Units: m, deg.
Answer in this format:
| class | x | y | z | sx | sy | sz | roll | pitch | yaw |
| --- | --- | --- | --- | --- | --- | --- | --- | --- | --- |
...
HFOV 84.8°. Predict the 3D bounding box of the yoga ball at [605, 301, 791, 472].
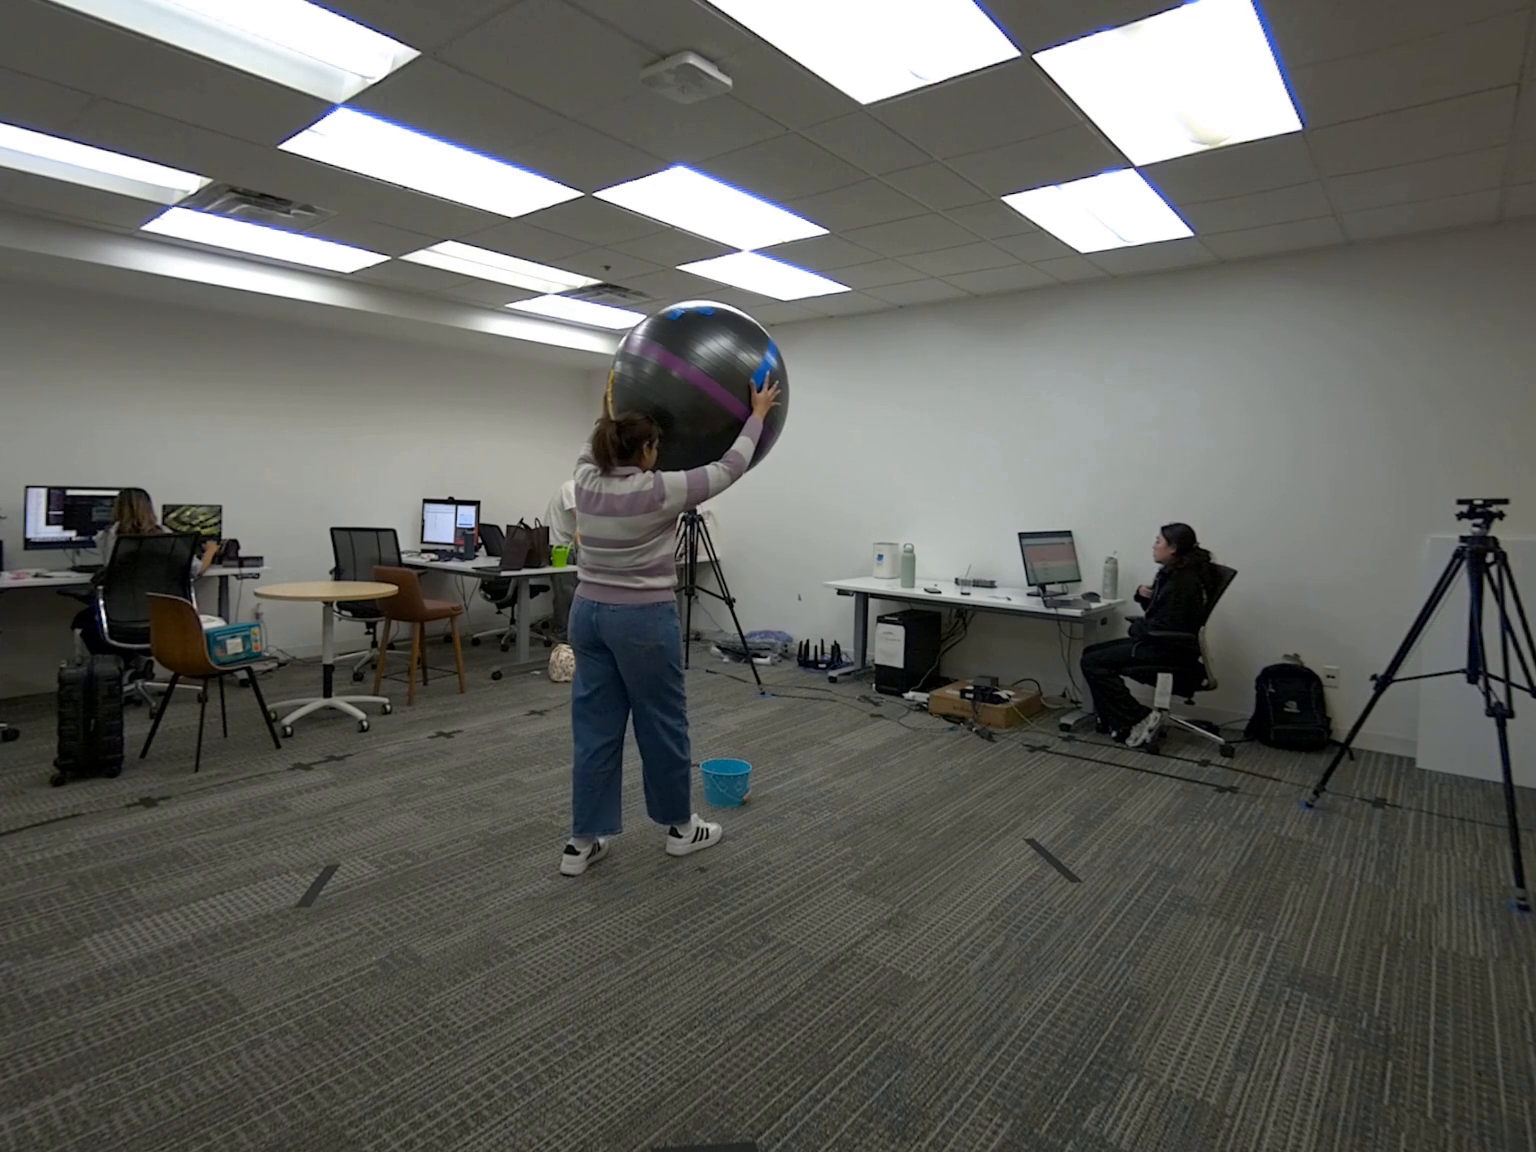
| class | x | y | z | sx | sy | sz | roll | pitch | yaw |
| --- | --- | --- | --- | --- | --- | --- | --- | --- | --- |
| yoga ball | -0.297 | -0.745 | 3.548 | 0.757 | 0.756 | 0.761 | 1 | 4 | -2 |
